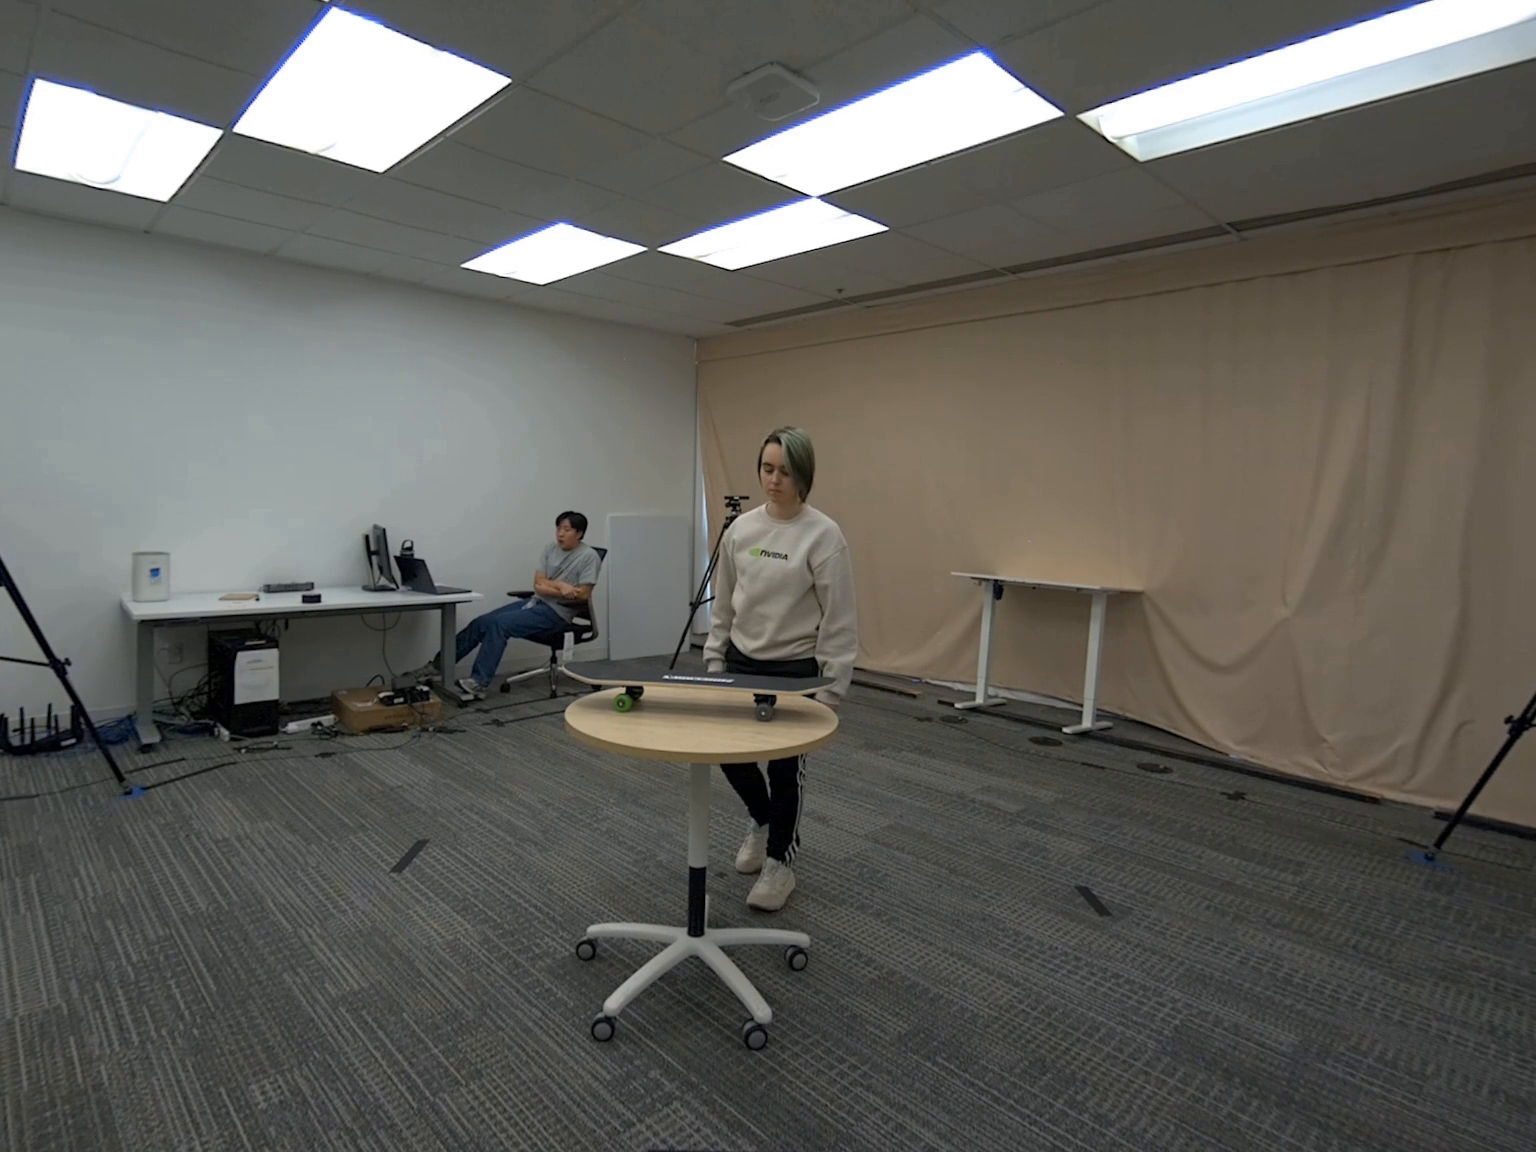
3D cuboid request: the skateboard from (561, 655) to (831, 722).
[{"bbox_3d":[-0.202,0.339,2.393,0.790,0.110,0.193,2,4,7],"label":"skateboard"}]
